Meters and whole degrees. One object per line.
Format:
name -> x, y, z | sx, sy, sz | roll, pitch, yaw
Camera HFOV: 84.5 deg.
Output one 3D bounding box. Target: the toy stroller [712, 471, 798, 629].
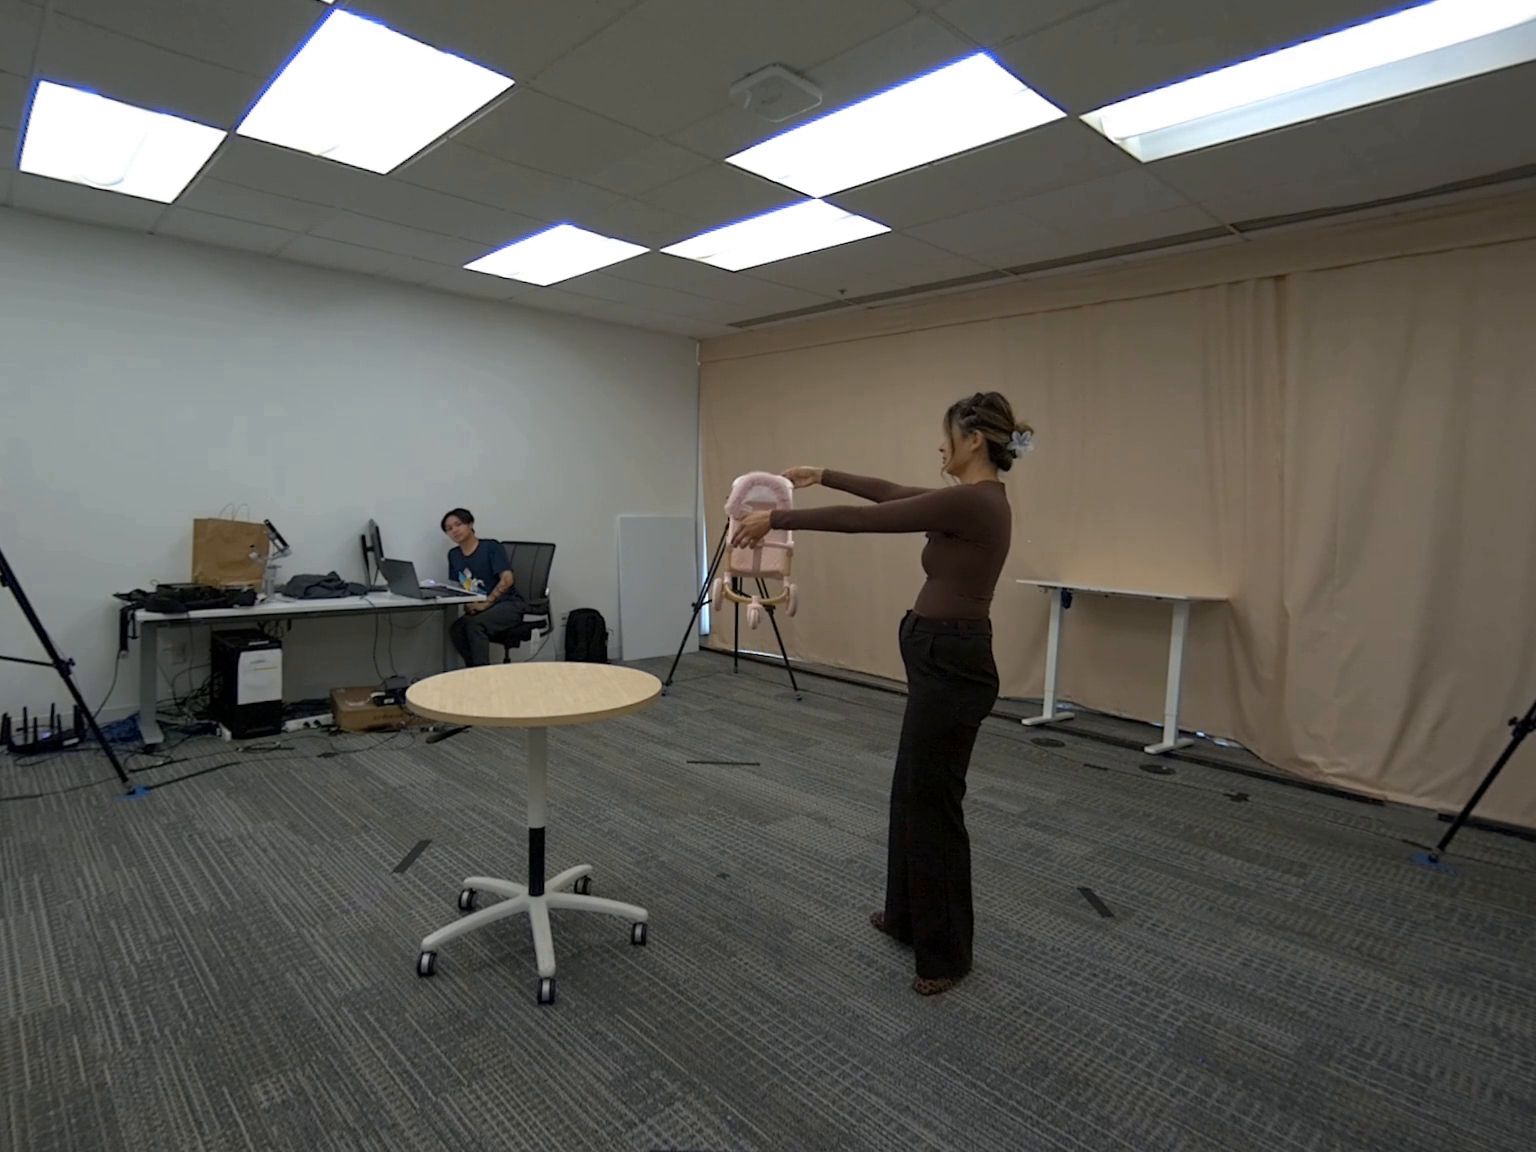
toy stroller -> -0.034, -0.095, 2.711 | 0.282, 0.538, 0.338 | 4, -8, 3
